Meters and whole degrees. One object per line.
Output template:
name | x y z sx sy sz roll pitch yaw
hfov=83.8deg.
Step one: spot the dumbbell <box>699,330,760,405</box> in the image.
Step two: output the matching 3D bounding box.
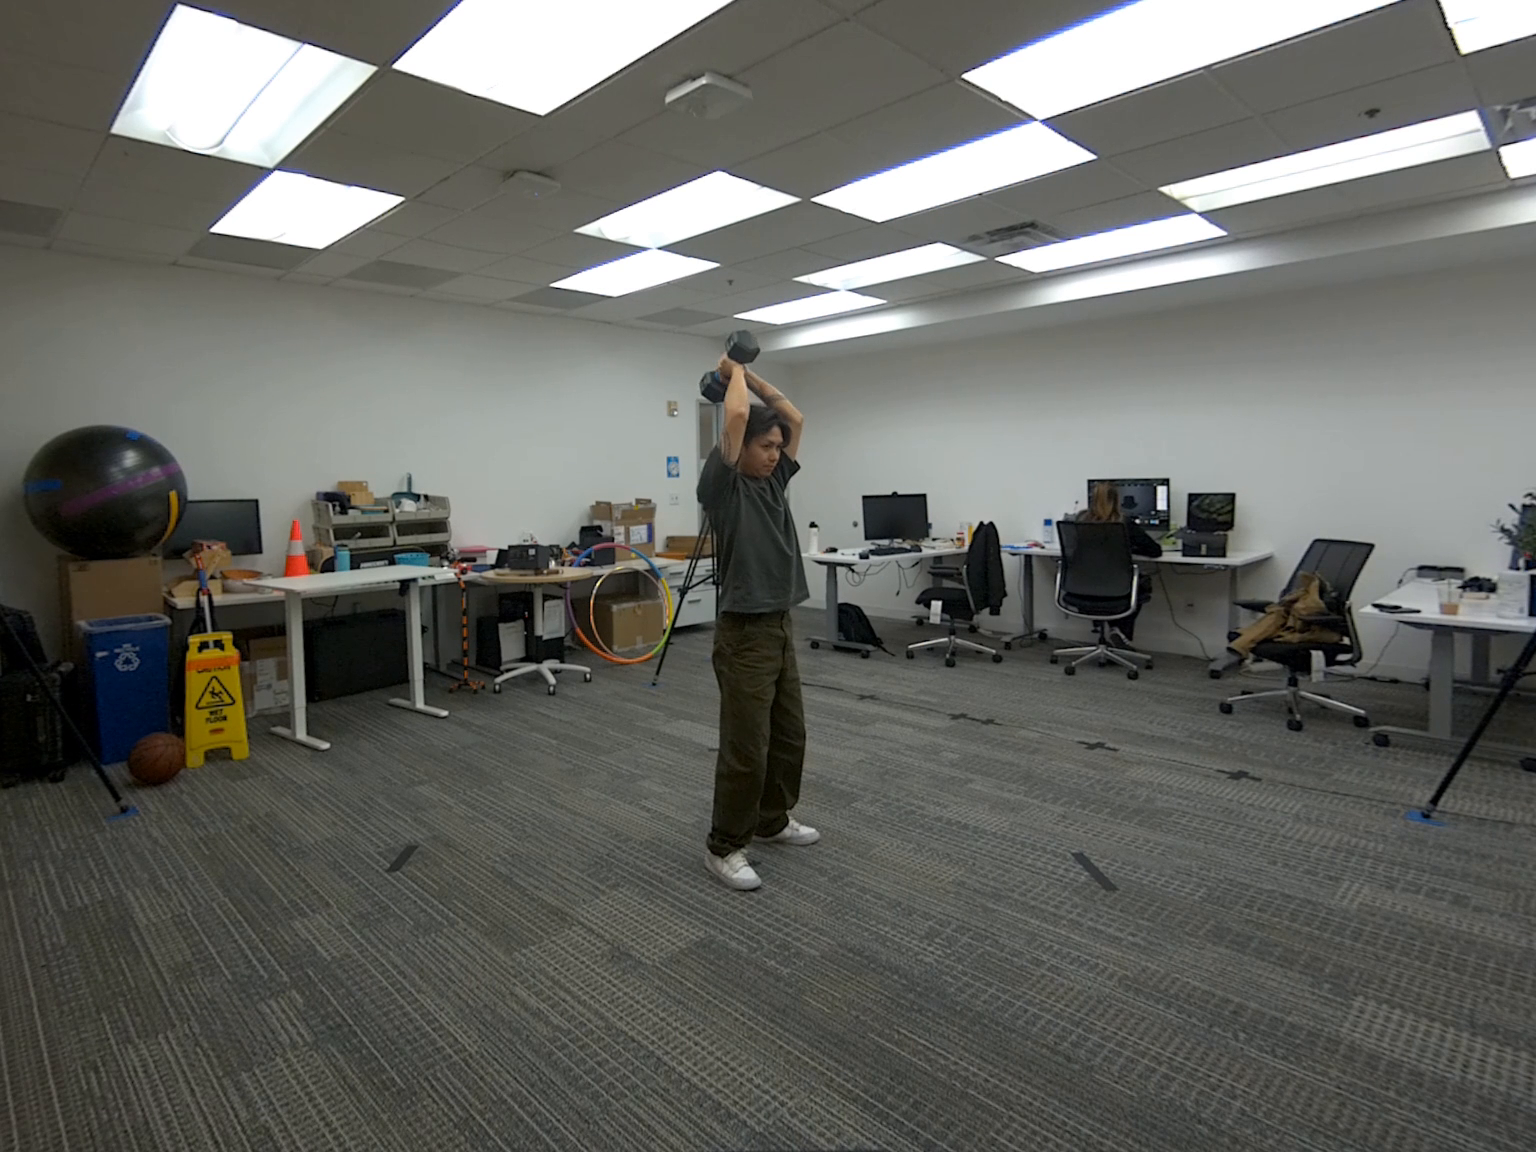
dumbbell | -0.133 -0.770 3.135 0.106 0.126 0.293 15 -40 -26
